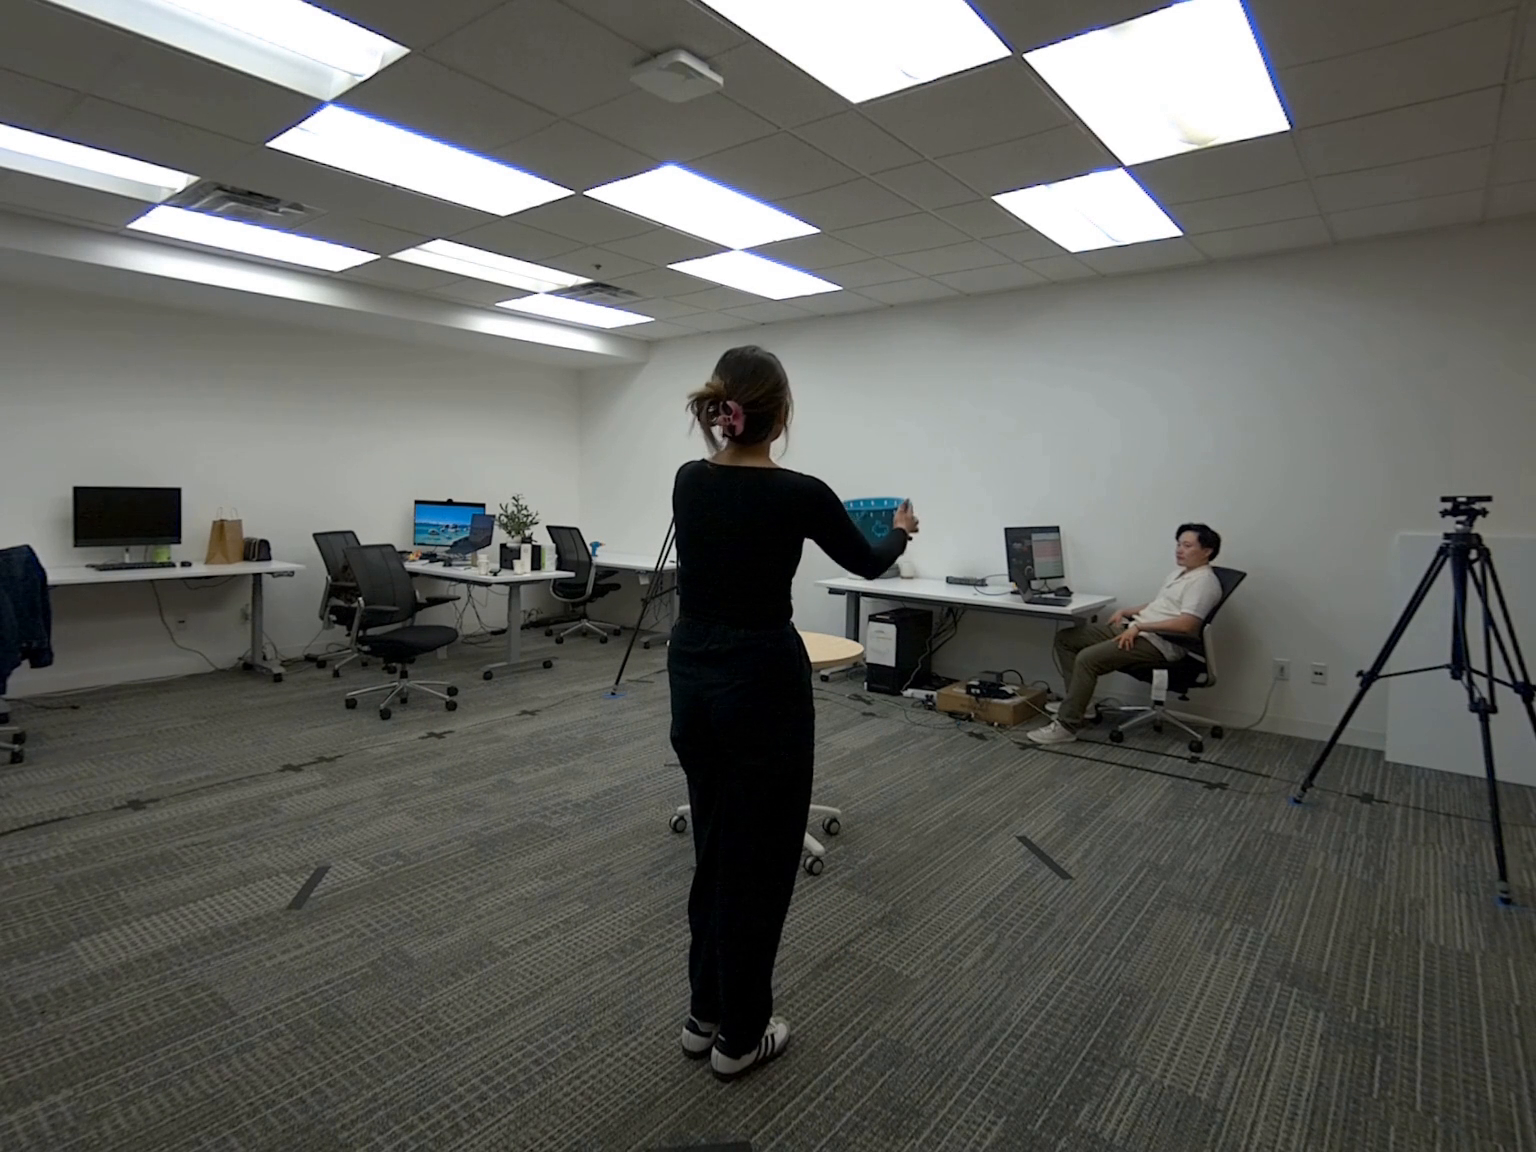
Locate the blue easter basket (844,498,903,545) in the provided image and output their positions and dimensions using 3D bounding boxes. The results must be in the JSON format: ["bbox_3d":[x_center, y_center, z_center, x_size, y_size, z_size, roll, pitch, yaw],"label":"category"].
[{"bbox_3d":[0.306,-0.130,2.510,0.243,0.154,0.246,-4,11,-1],"label":"blue easter basket"}]
